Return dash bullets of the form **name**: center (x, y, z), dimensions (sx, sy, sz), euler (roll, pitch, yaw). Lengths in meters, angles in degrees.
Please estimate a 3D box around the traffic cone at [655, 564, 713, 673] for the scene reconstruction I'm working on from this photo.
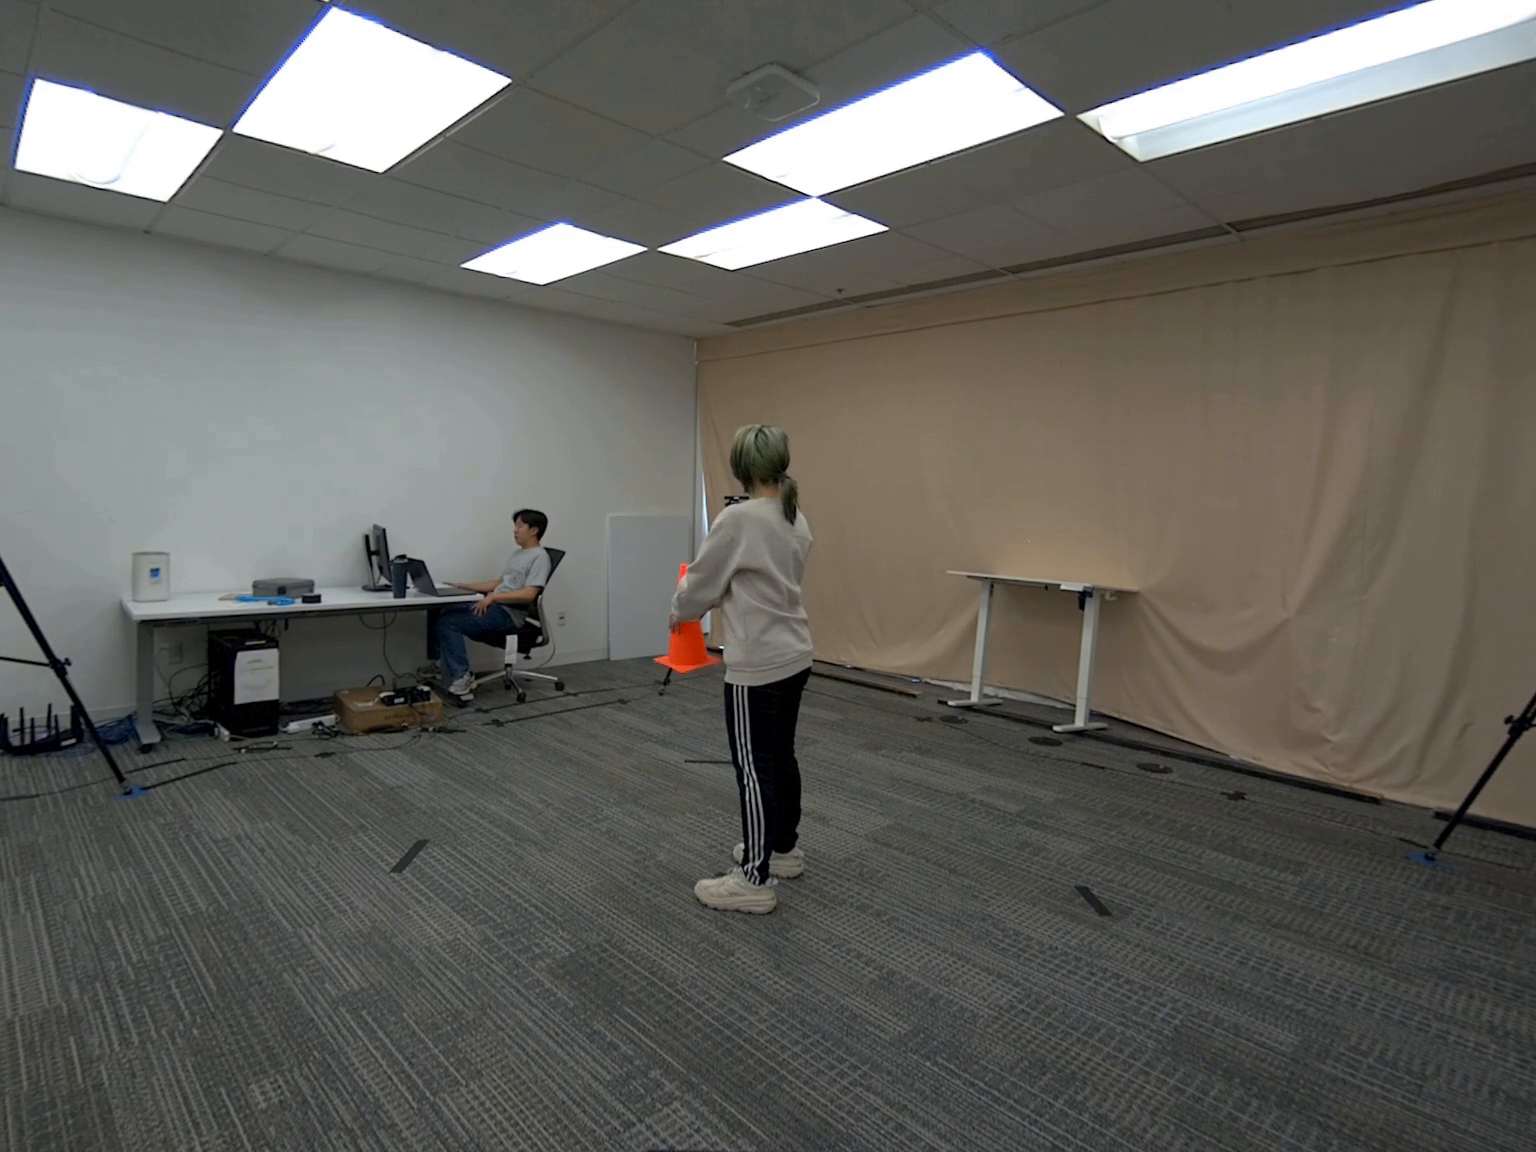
- **traffic cone**: center (-0.313, 0.135, 3.227), dimensions (0.201, 0.380, 0.209), euler (-10, 14, -36)
